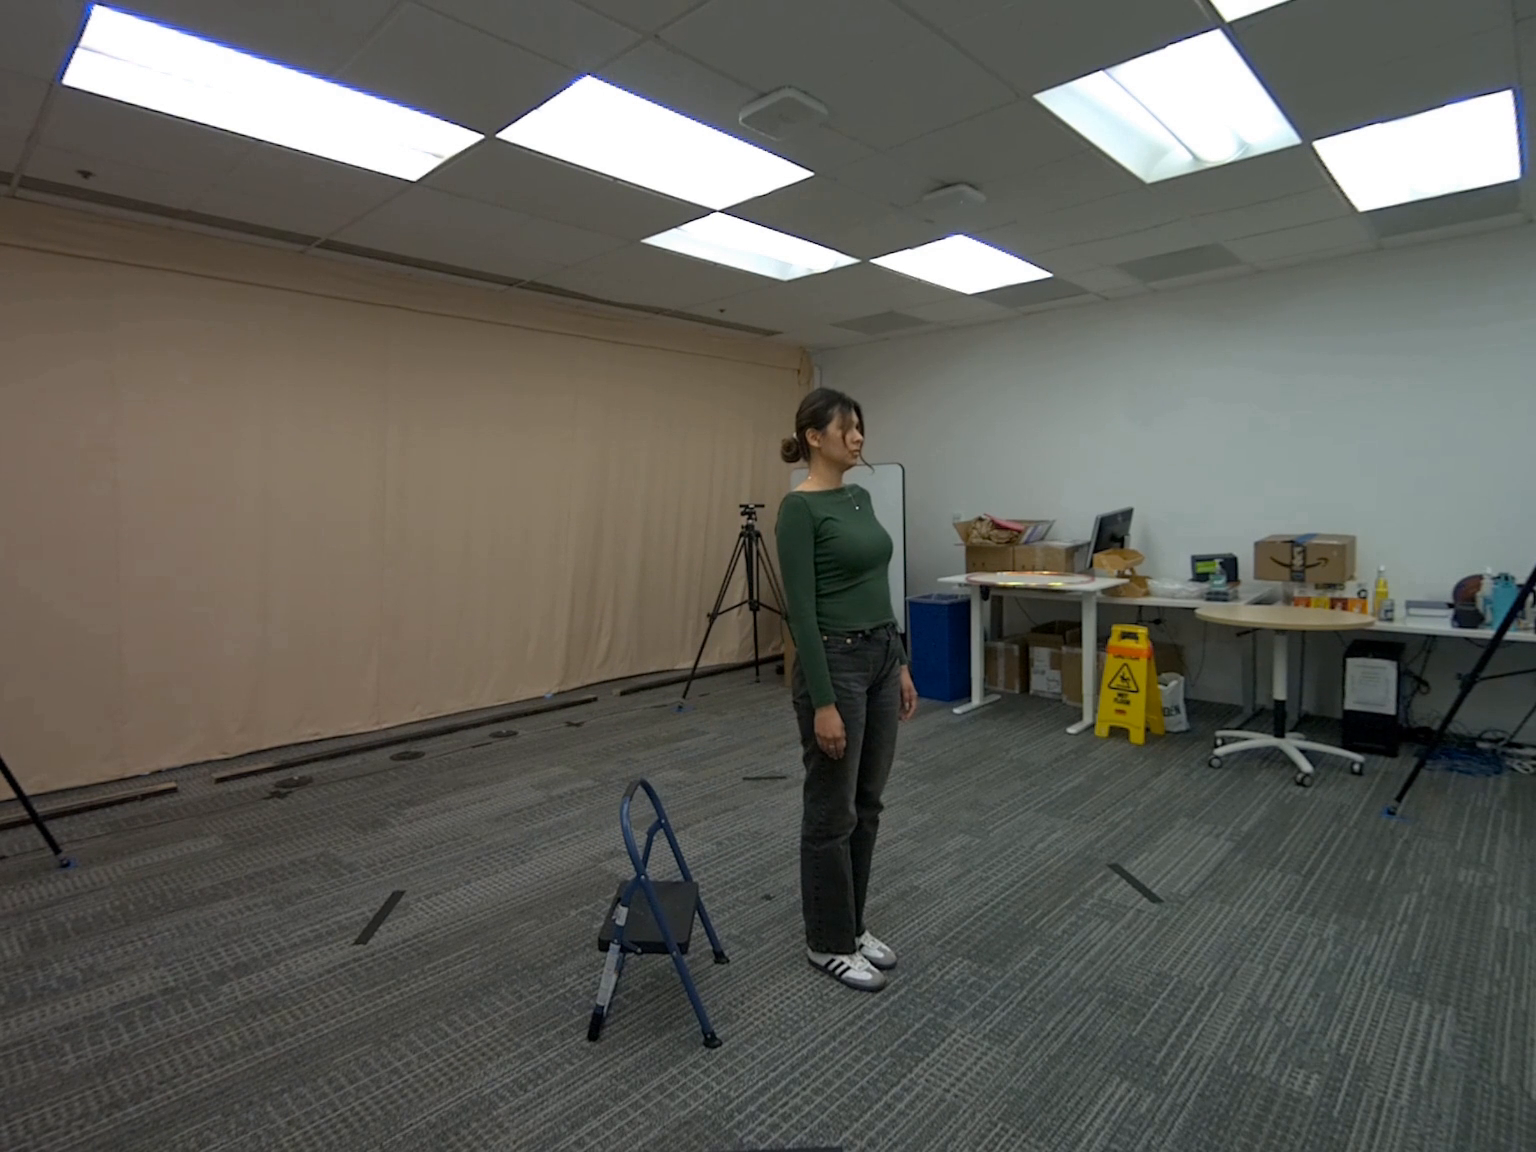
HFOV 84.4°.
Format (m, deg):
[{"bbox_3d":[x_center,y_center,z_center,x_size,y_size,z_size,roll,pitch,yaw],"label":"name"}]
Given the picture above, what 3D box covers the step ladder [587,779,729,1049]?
[{"bbox_3d":[-0.302,0.900,2.367,0.350,0.605,0.430,0,3,1],"label":"step ladder"}]
